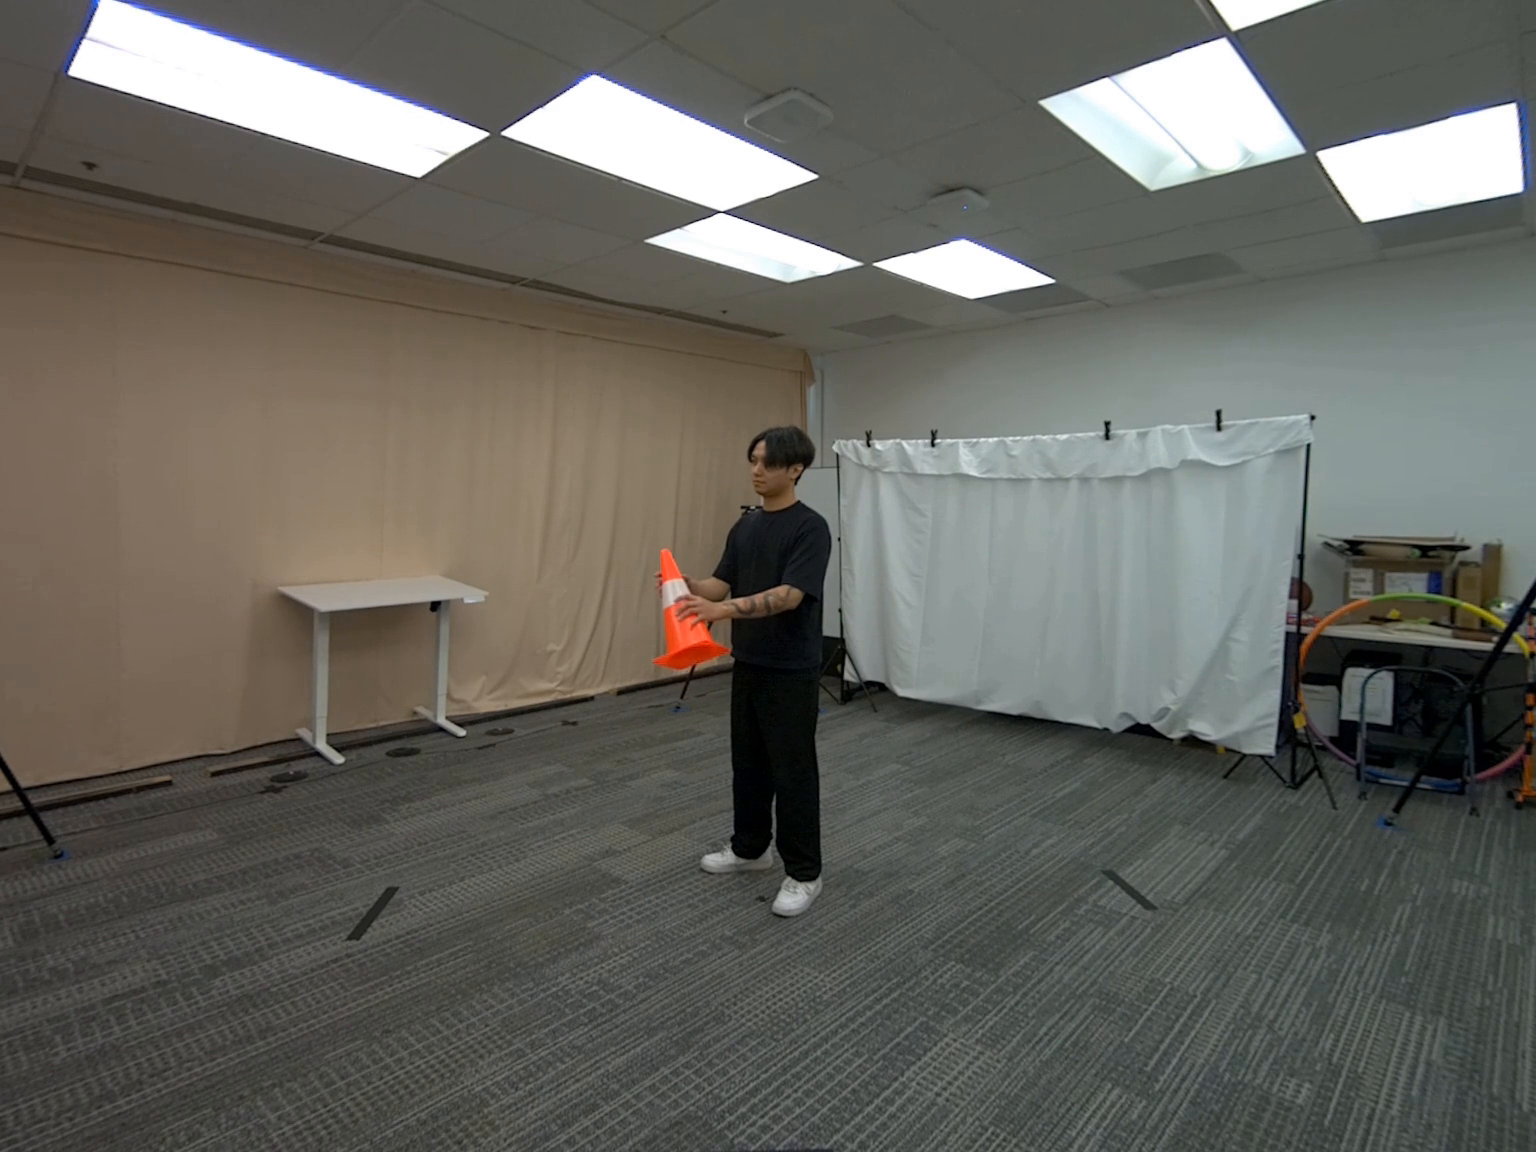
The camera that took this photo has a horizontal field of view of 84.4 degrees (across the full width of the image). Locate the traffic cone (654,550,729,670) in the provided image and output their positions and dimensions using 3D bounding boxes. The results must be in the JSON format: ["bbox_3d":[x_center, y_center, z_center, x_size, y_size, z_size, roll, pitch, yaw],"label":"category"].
[{"bbox_3d":[-0.298,0.087,2.732,0.206,0.391,0.198,-26,-24,20],"label":"traffic cone"}]
